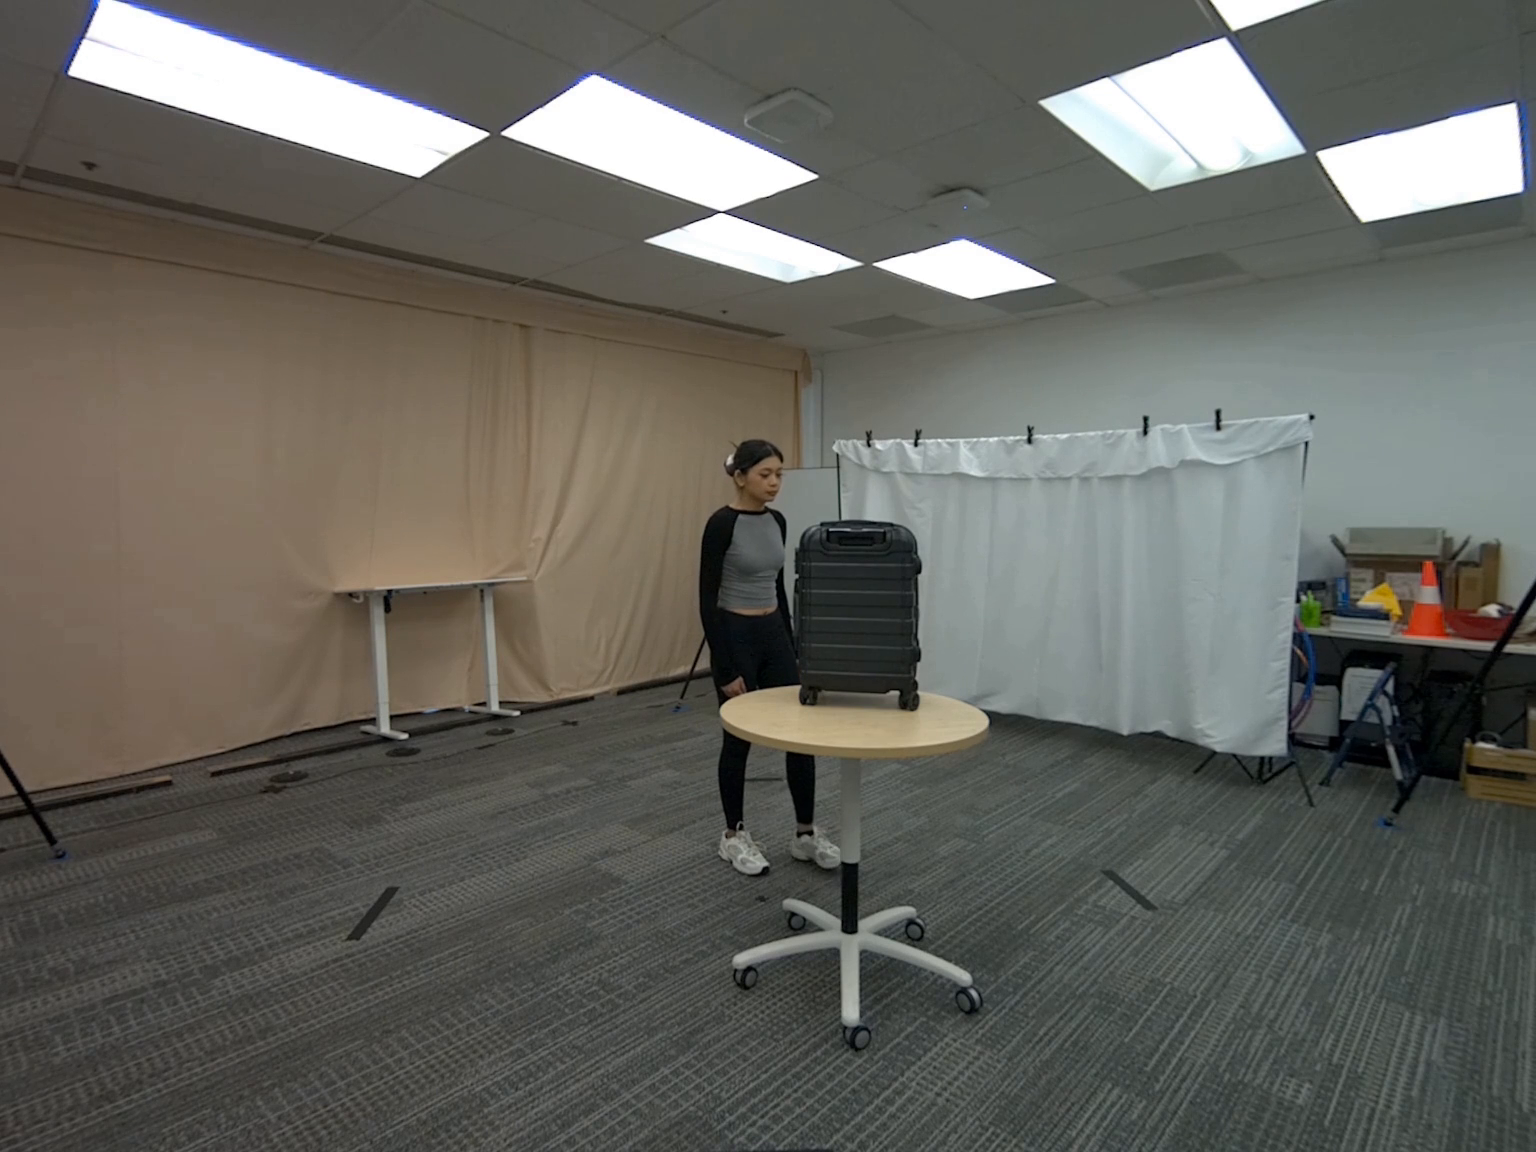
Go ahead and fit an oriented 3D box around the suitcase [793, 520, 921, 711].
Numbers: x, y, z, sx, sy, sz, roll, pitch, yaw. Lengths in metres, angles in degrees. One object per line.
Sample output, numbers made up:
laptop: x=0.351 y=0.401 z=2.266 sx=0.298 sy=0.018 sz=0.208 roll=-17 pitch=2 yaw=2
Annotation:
suitcase: x=0.271 y=0.106 z=2.585 sx=0.380 sy=0.548 sz=0.245 roll=0 pitch=3 yaw=12
